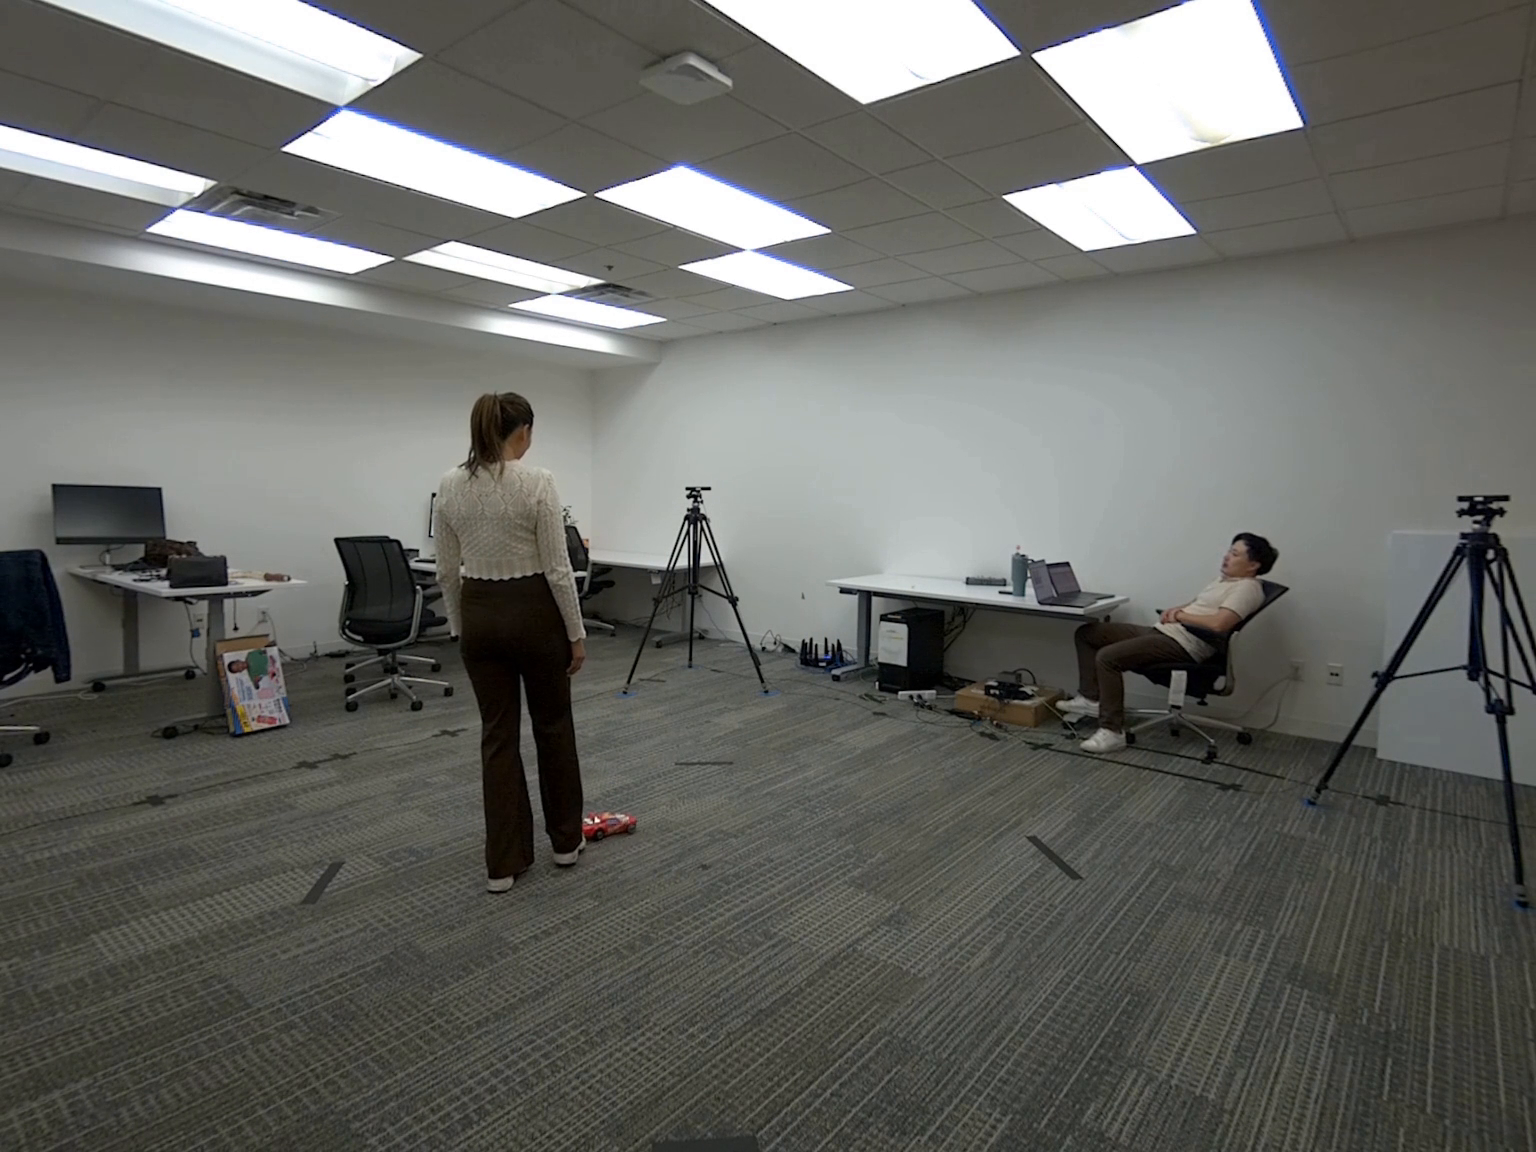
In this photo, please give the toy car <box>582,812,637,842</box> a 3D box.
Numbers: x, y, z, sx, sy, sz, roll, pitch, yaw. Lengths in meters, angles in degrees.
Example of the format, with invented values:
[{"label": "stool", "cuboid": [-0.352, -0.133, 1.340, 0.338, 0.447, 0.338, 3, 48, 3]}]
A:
[{"label": "toy car", "cuboid": [-0.667, 0.998, 3.404, 0.246, 0.083, 0.134, 11, -2, -35]}]
